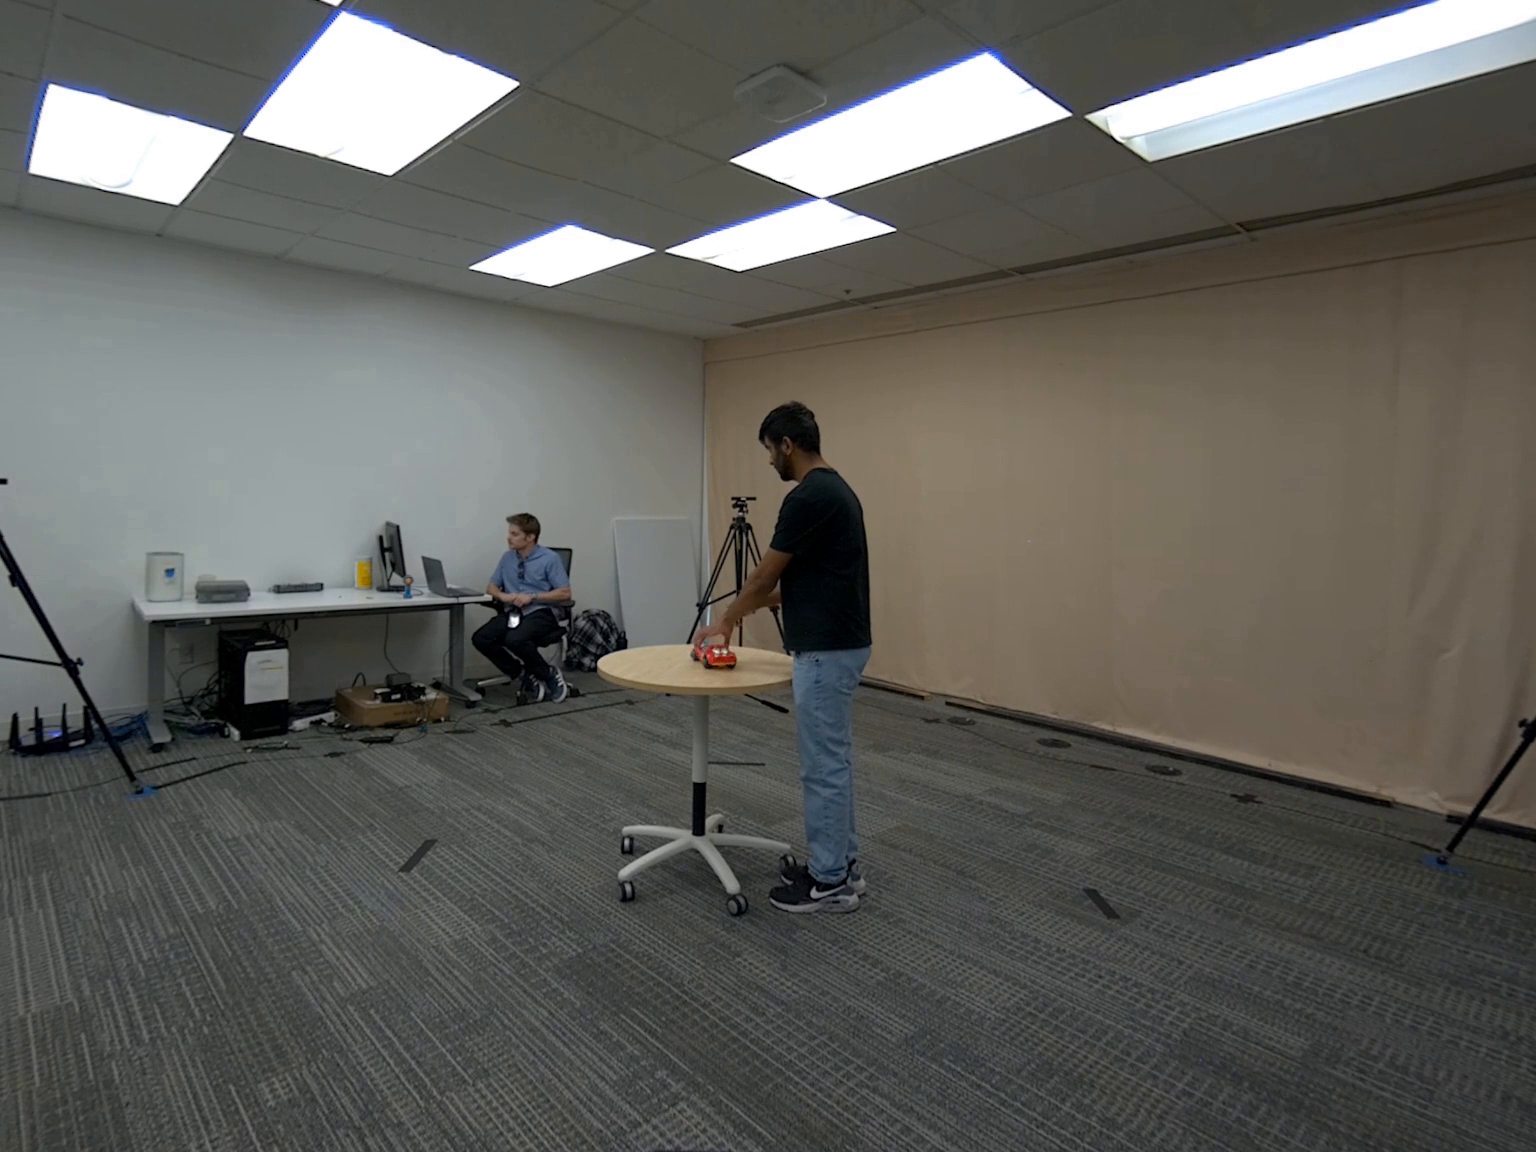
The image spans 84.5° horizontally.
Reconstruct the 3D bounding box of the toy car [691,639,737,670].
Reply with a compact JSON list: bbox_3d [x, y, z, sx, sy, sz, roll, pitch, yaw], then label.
[{"bbox_3d":[-0.196,0.295,3.066,0.128,0.083,0.257,-1,-5,-20],"label":"toy car"}]
